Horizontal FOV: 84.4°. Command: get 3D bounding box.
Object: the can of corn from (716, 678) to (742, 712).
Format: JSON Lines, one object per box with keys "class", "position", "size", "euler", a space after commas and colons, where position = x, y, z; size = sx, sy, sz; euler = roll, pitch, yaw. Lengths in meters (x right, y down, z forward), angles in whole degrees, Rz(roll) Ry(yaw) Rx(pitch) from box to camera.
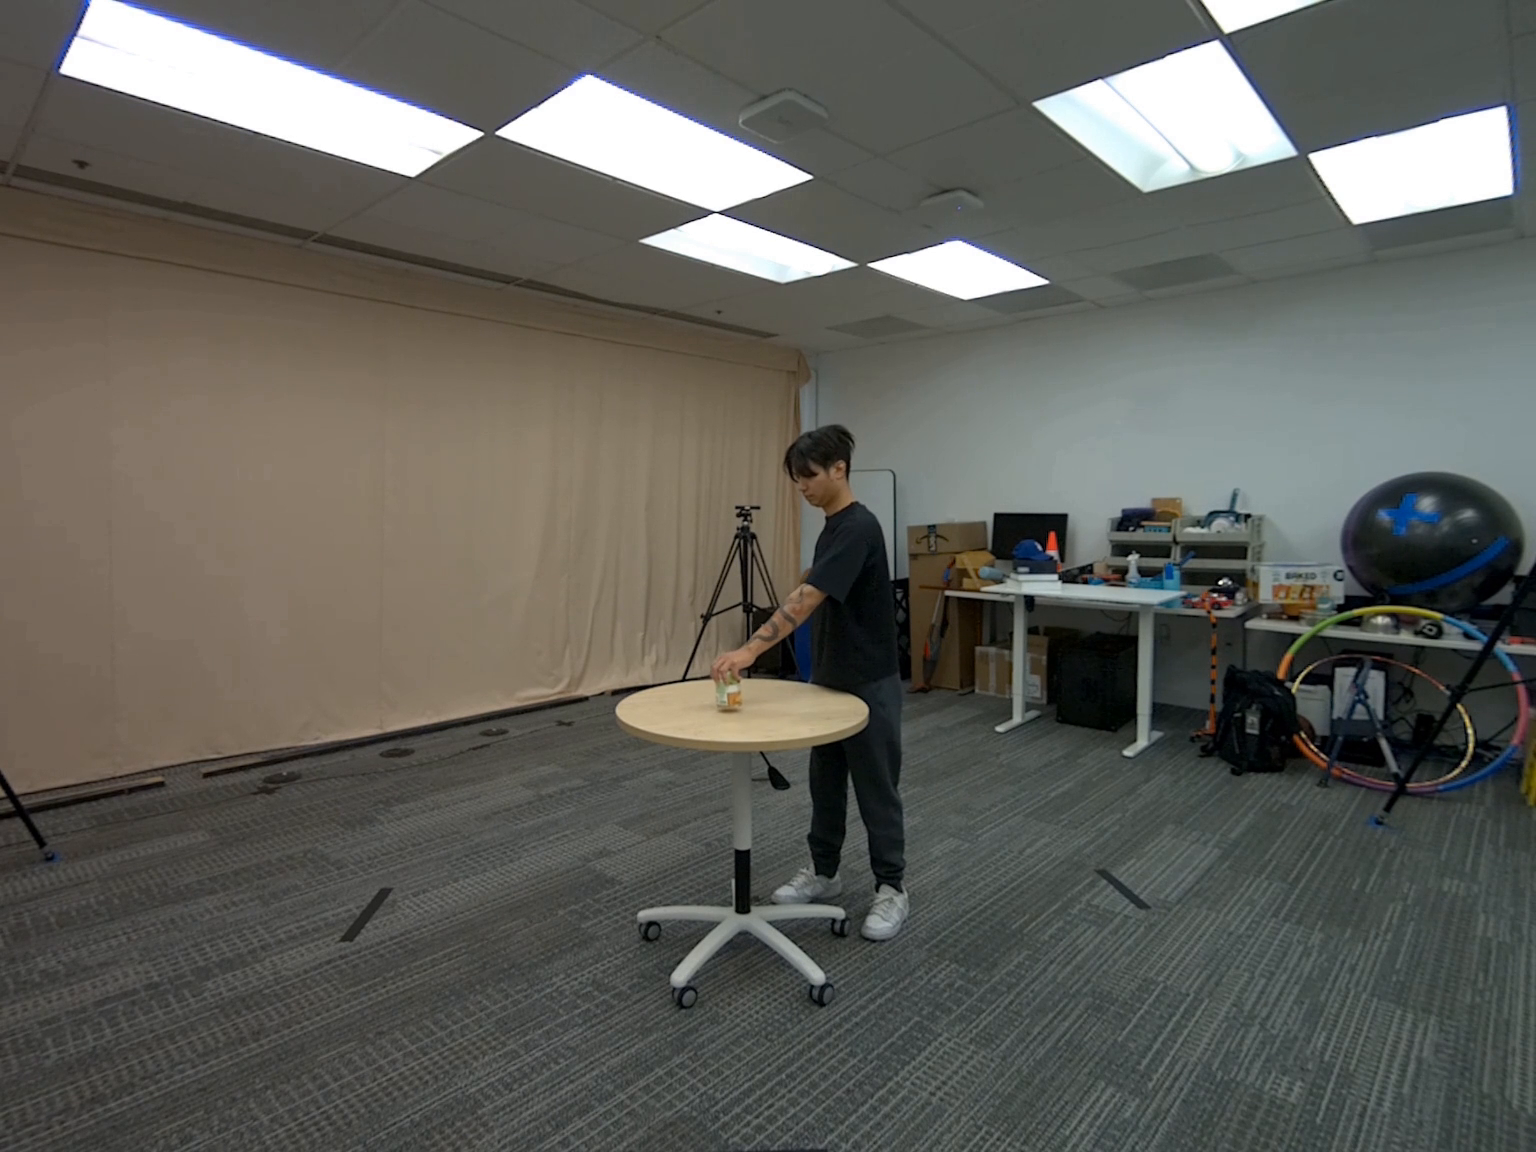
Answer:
{"class": "can of corn", "position": [-0.113, 0.331, 2.492], "size": [0.074, 0.111, 0.074], "euler": [-3, 4, -2]}
